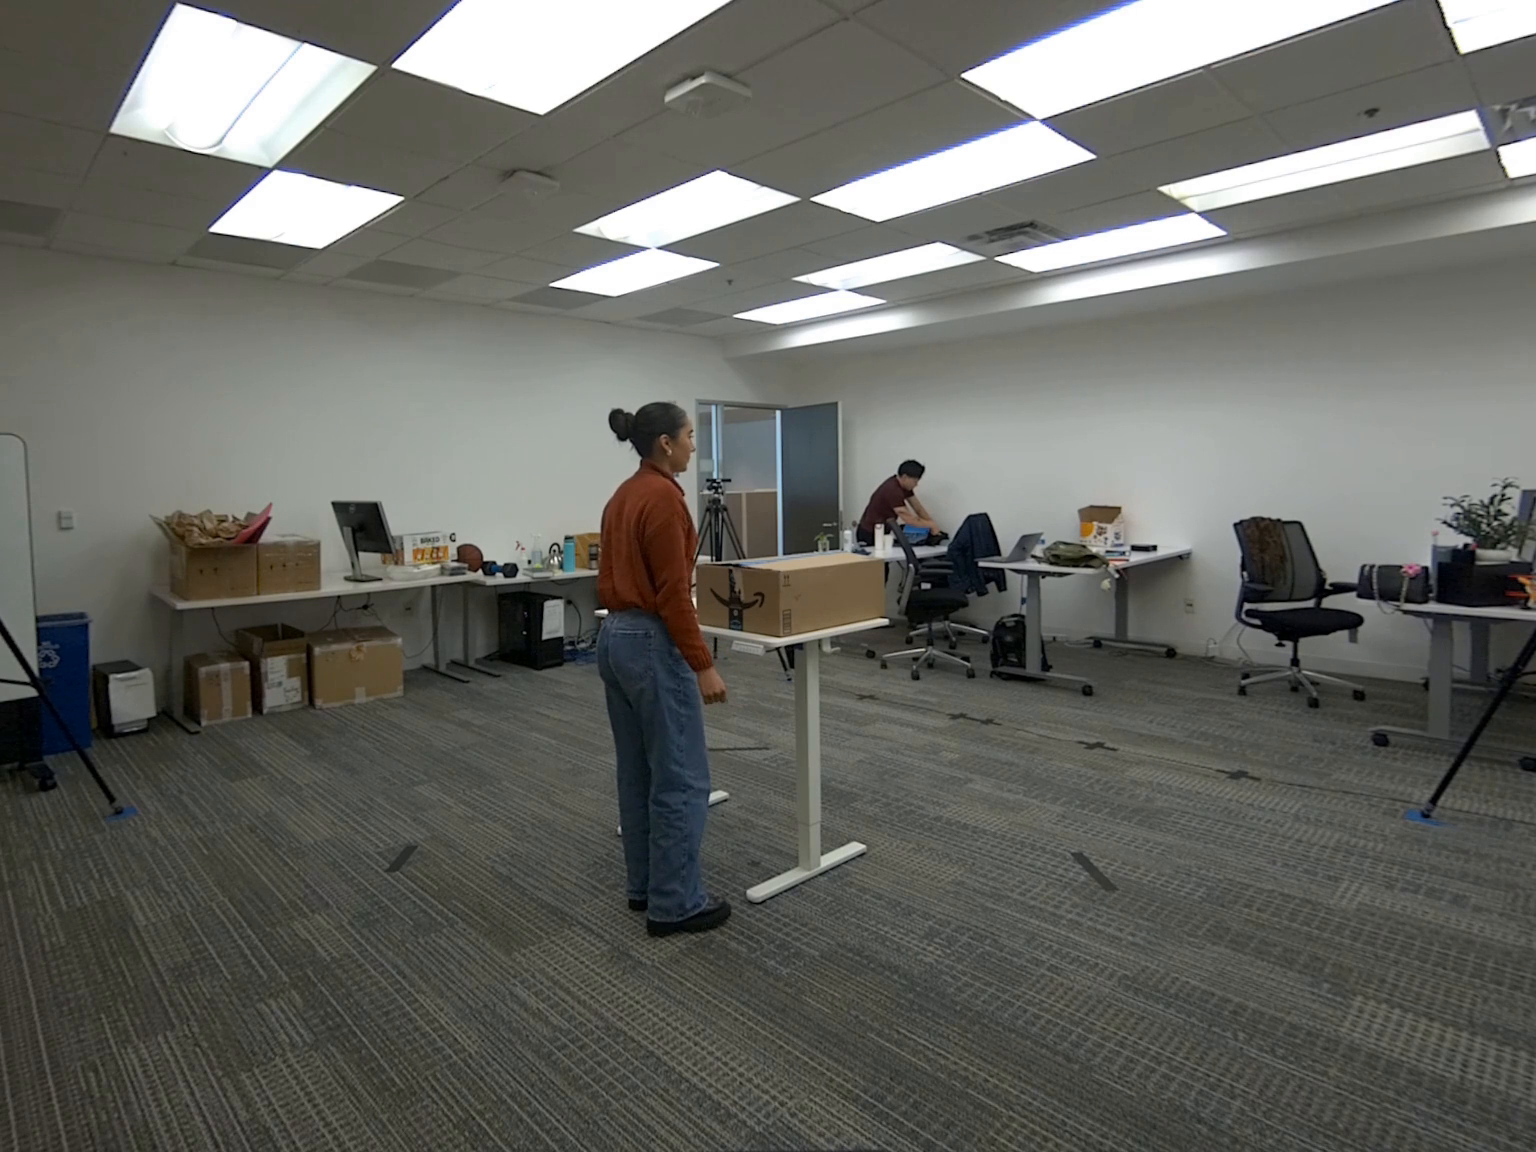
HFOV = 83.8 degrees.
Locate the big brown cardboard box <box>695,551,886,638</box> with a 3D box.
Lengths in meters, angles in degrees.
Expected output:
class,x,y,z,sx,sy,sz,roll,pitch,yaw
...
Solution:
class,x,y,z,sx,sy,sz,roll,pitch,yaw
big brown cardboard box,0.090,0.053,3.080,0.430,0.232,0.574,4,8,45
